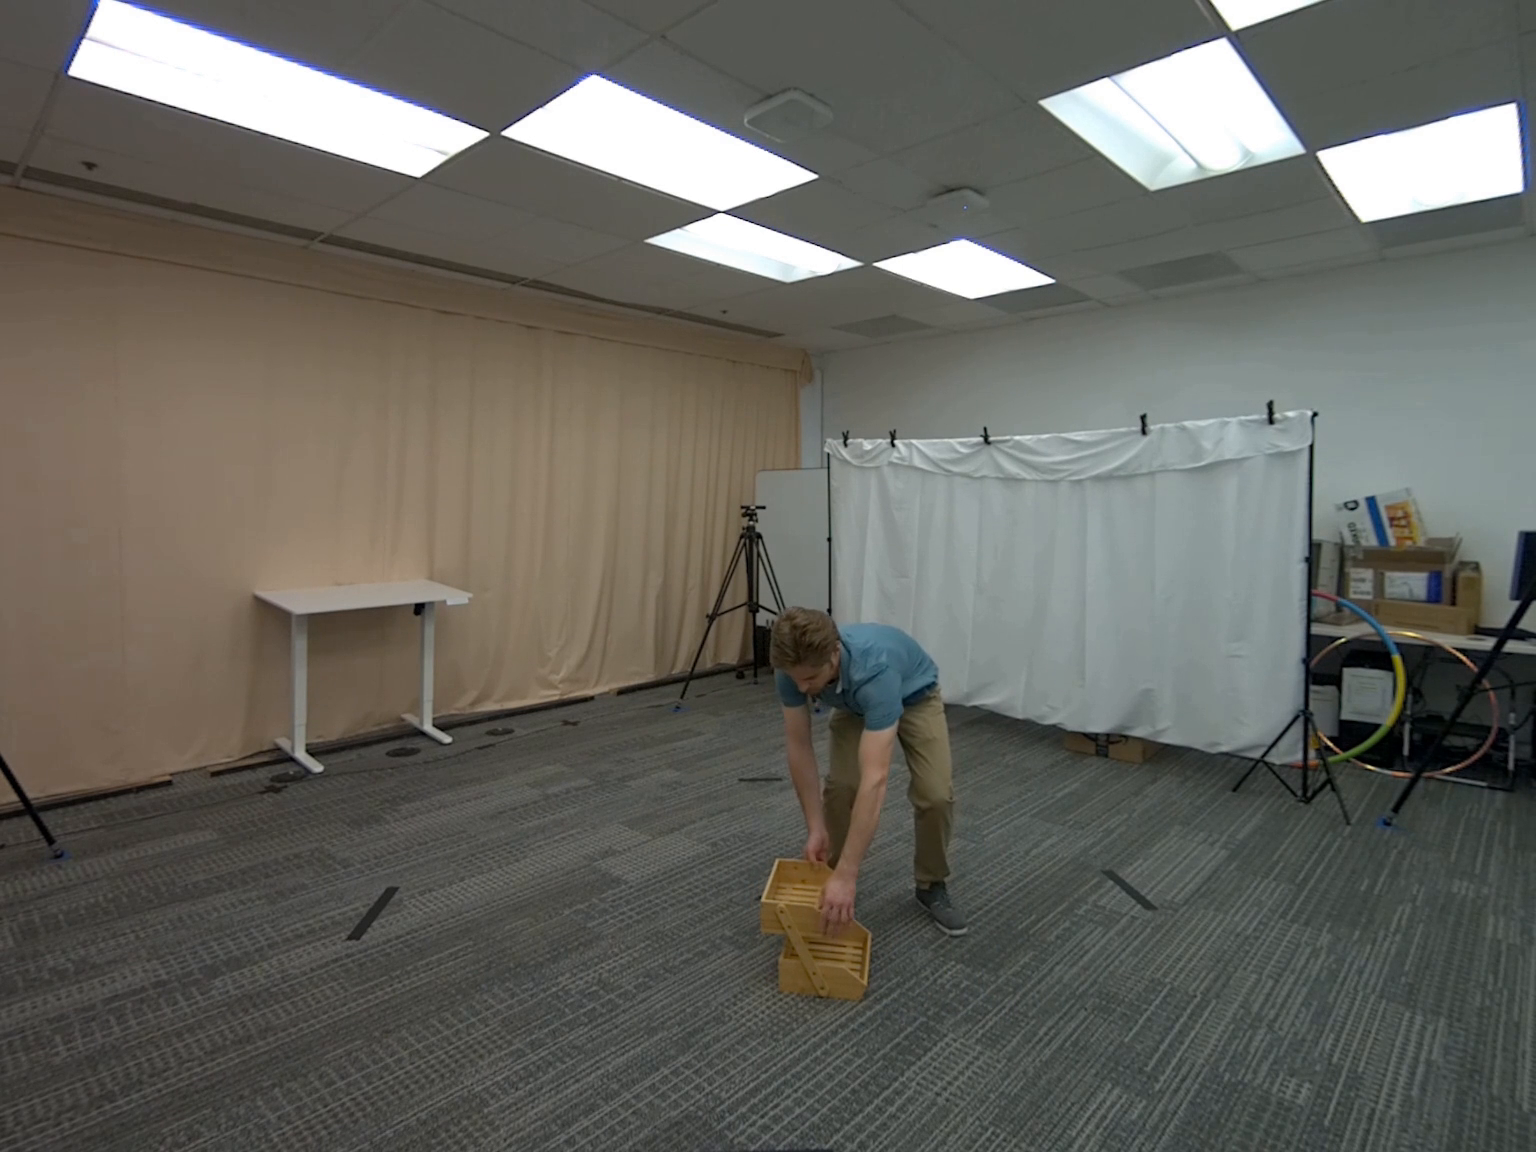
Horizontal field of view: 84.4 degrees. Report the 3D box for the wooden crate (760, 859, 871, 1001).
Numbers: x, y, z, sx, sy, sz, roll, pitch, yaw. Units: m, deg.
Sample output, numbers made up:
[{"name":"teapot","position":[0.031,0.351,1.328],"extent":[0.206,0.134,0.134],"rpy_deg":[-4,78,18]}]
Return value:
[{"name":"wooden crate","position":[0.160,1.052,2.530],"extent":[0.306,0.273,0.321],"rpy_deg":[1,4,11]}]
